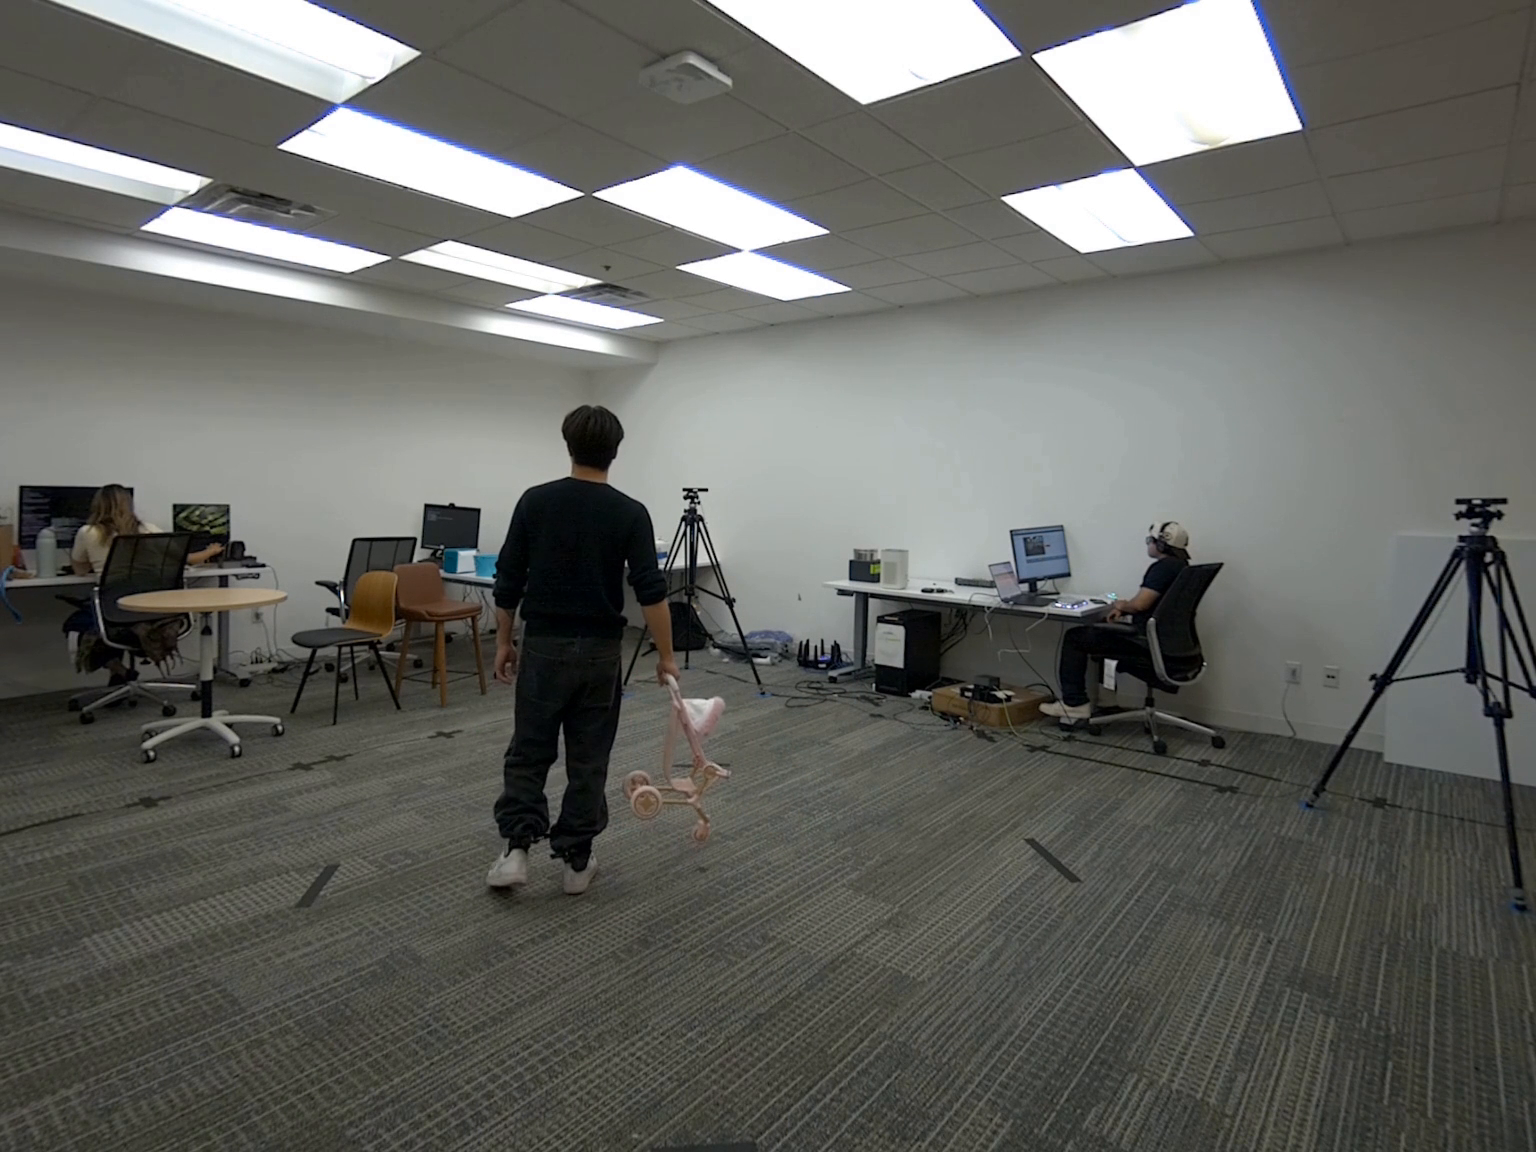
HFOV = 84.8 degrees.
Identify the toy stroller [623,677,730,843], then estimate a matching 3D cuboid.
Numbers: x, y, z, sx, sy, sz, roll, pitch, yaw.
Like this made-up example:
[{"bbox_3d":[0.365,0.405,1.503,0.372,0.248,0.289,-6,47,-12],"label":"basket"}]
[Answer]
[{"bbox_3d":[-0.293,0.642,2.975,0.339,0.537,0.282,19,-7,-7],"label":"toy stroller"}]
